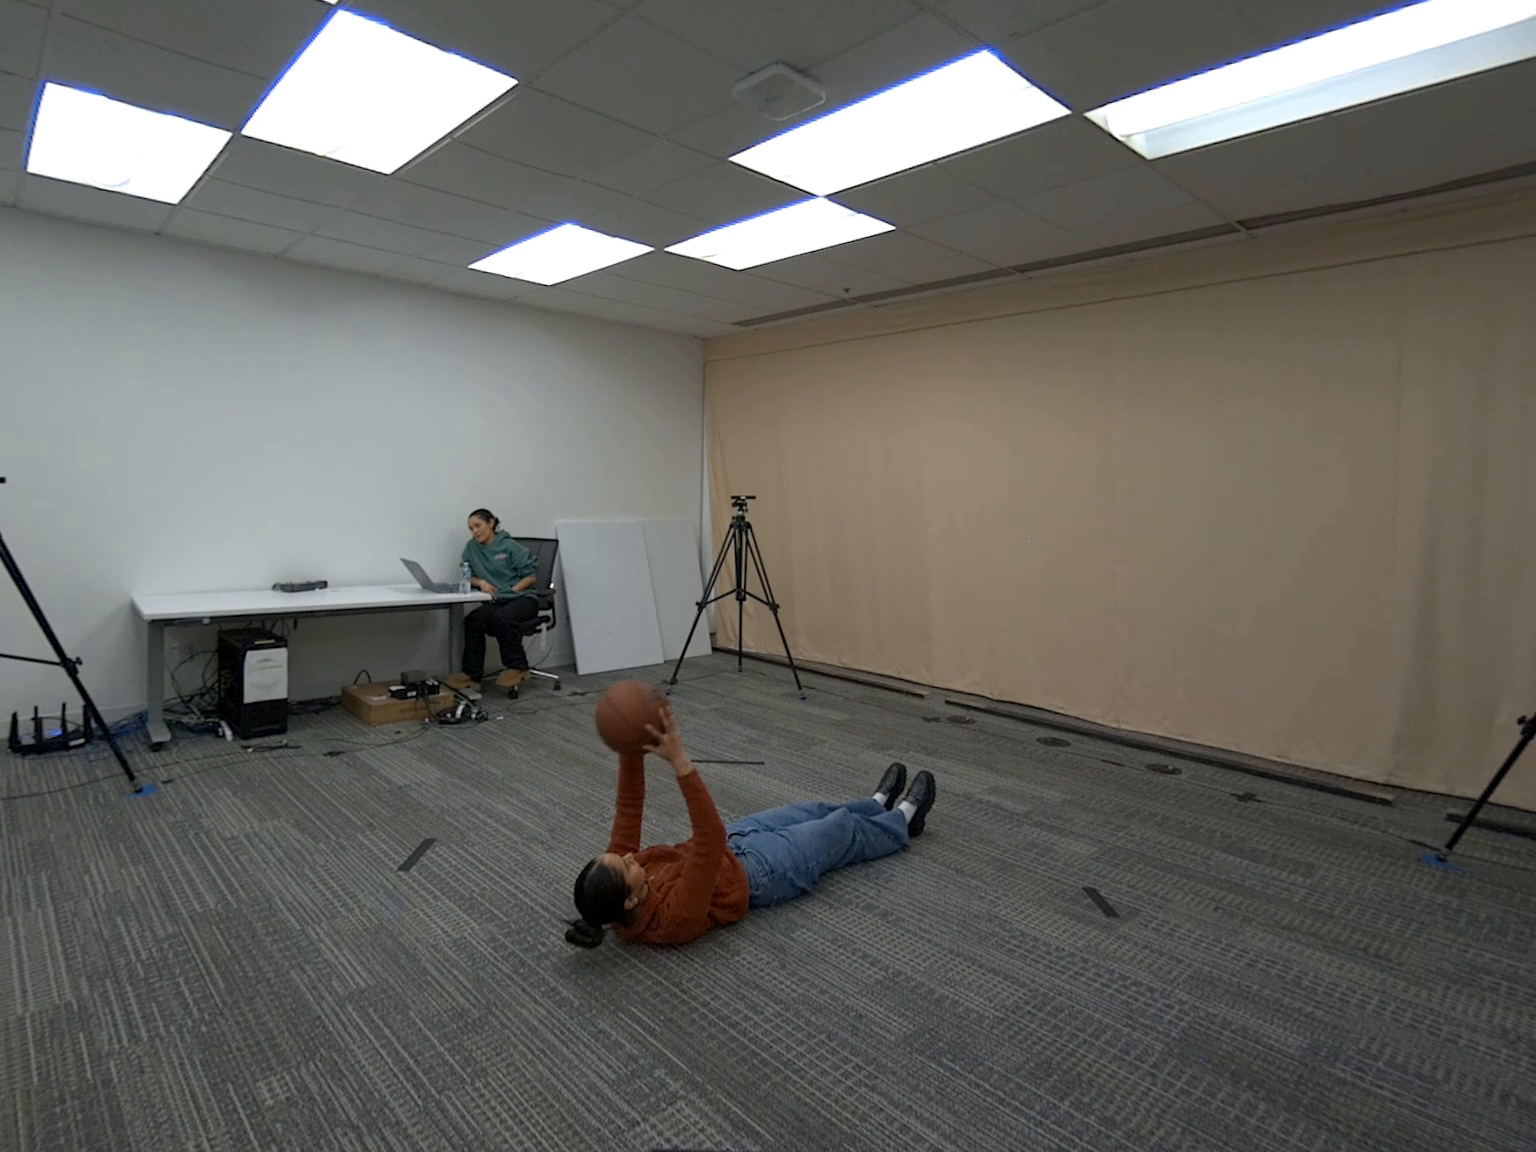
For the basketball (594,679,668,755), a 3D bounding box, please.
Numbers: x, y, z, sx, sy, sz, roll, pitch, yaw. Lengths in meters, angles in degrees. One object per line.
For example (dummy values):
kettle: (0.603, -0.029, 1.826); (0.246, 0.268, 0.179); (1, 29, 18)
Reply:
basketball: (-0.414, 0.461, 2.590); (0.236, 0.234, 0.237); (0, 8, -1)
